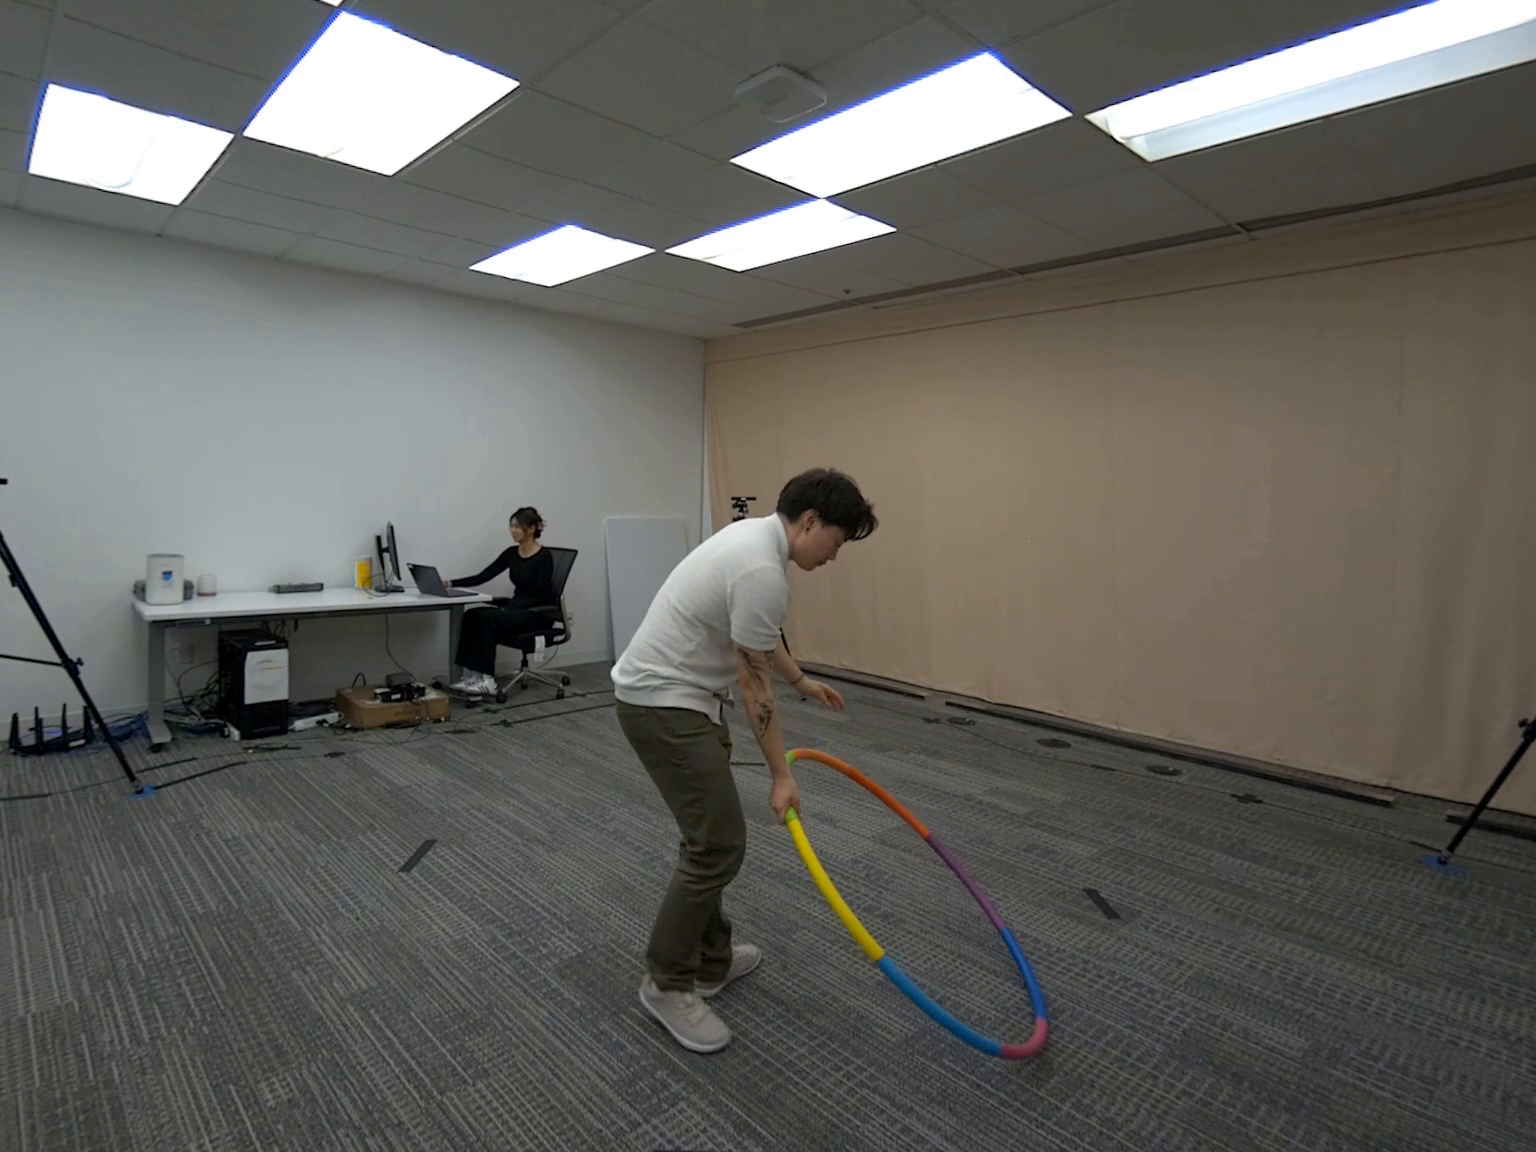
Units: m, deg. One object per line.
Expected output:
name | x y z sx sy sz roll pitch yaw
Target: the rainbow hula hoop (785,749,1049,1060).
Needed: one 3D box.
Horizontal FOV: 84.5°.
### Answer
rainbow hula hoop | 0.396 0.865 2.366 0.968 0.035 0.990 39 11 -11
